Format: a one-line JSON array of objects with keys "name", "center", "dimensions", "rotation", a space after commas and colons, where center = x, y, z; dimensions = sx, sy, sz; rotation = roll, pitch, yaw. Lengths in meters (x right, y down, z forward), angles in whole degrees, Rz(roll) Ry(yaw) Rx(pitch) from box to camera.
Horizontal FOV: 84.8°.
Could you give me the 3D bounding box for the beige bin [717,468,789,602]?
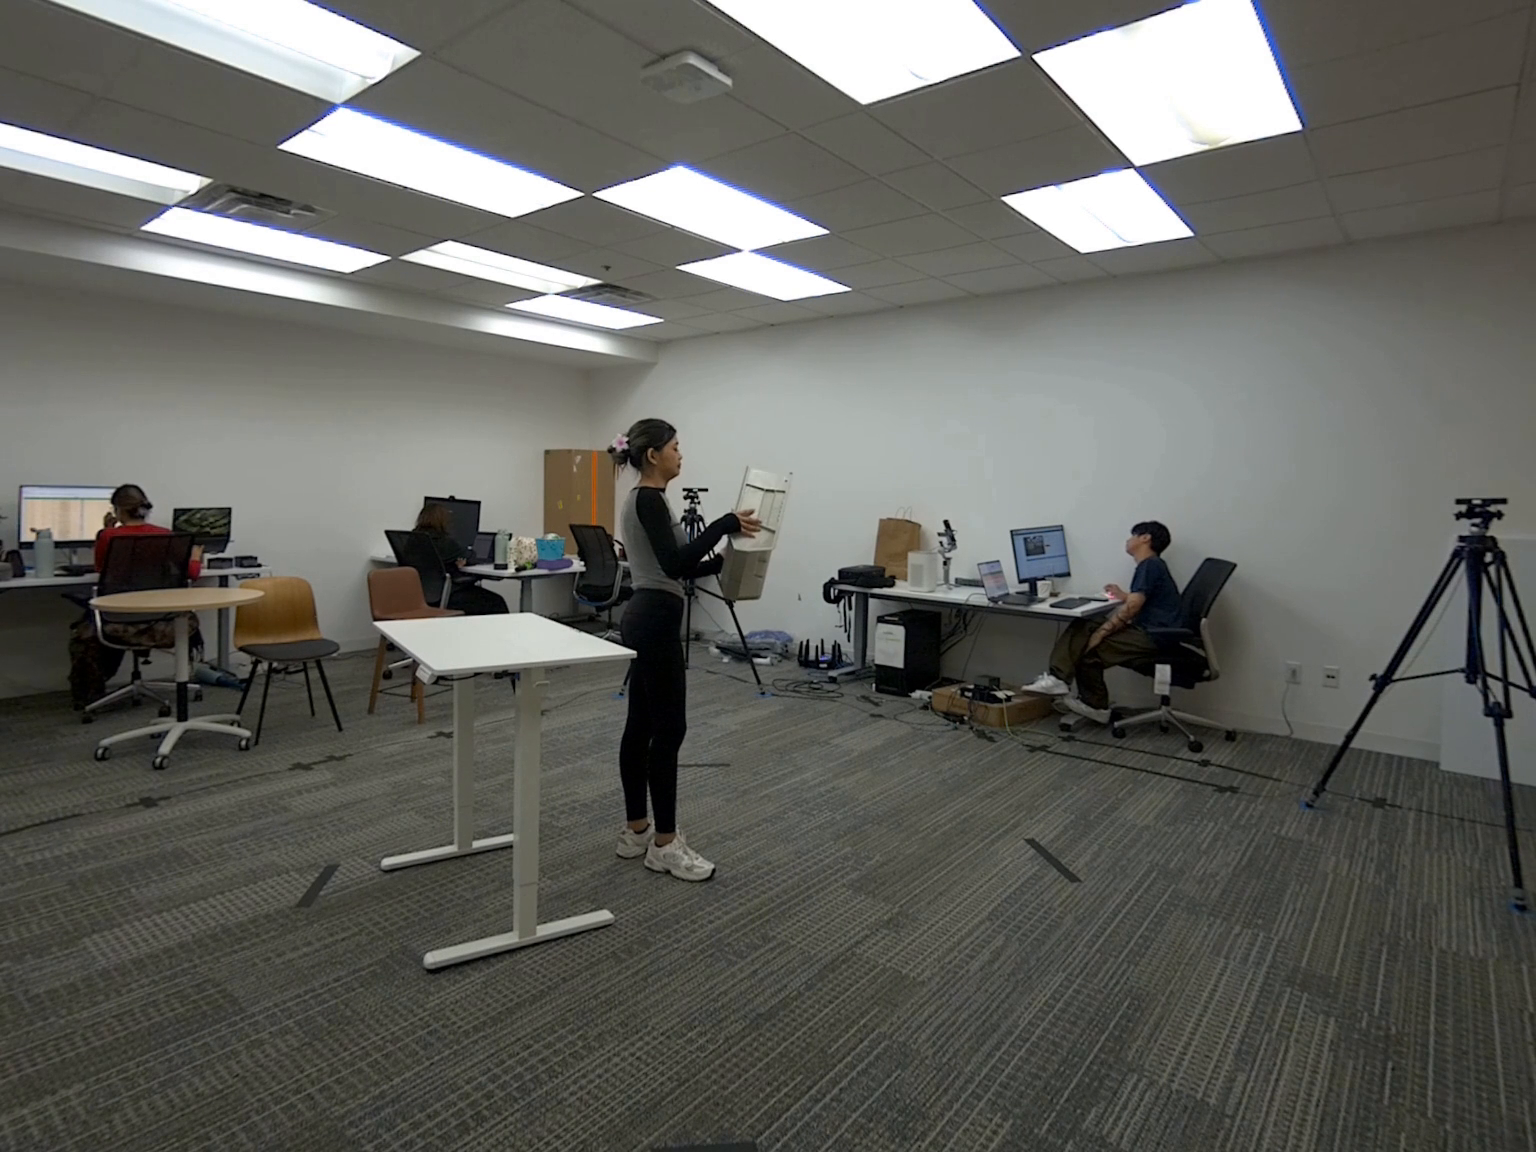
[{"name": "beige bin", "center": [-0.067, -0.156, 3.300], "dimensions": [0.189, 0.384, 0.415], "rotation": [14, -29, -2]}]
